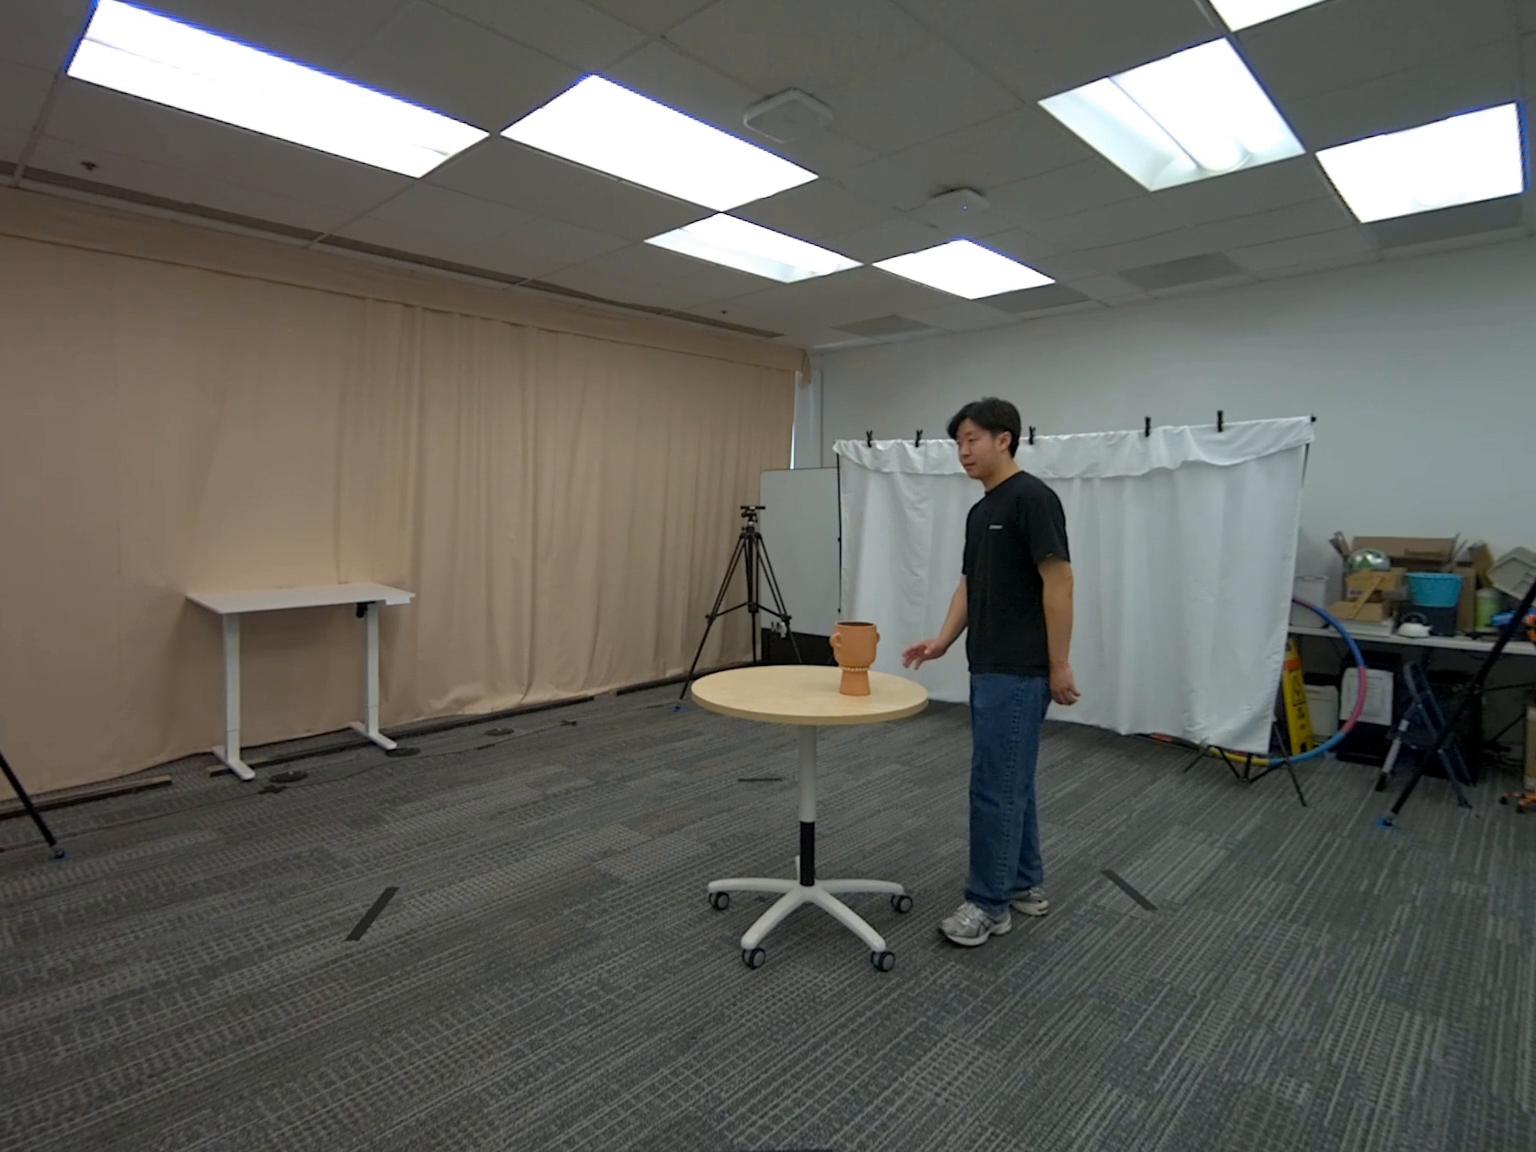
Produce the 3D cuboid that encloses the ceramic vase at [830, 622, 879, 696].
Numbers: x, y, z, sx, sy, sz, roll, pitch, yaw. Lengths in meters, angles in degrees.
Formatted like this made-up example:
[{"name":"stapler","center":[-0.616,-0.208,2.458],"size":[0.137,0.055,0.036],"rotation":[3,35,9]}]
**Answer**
[{"name":"ceramic vase","center":[0.291,0.267,2.676],"size":[0.160,0.219,0.133],"rotation":[1,2,8]}]
